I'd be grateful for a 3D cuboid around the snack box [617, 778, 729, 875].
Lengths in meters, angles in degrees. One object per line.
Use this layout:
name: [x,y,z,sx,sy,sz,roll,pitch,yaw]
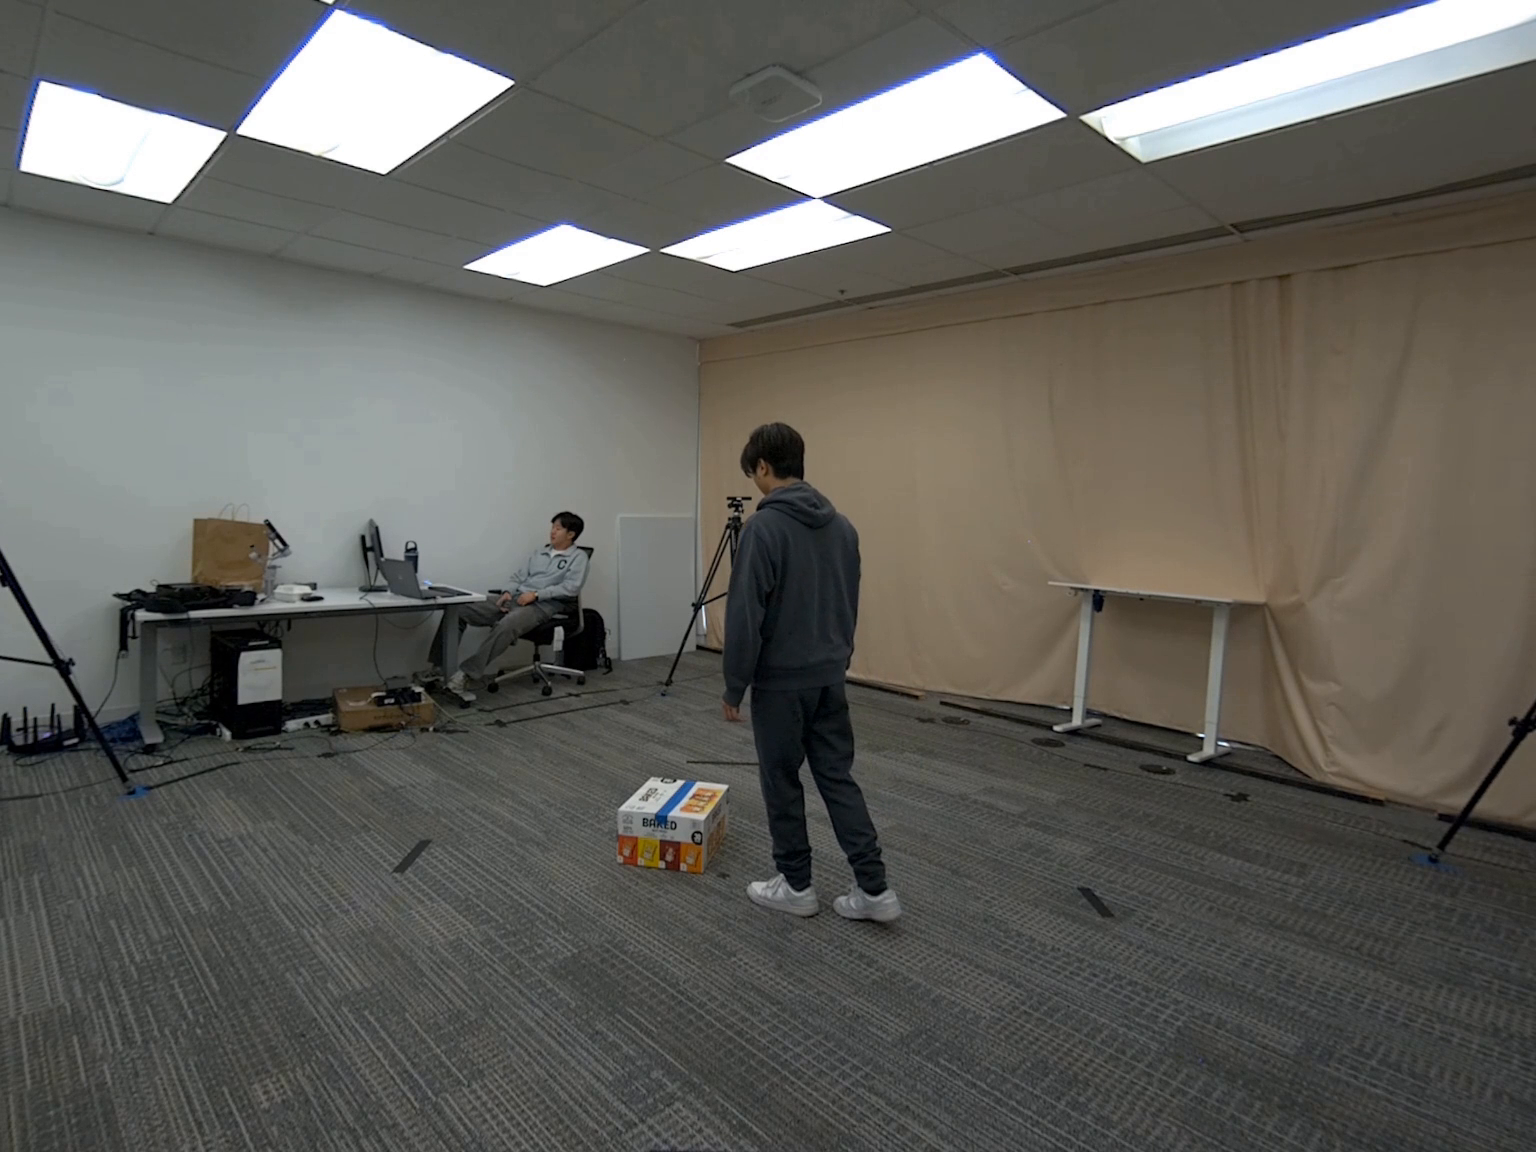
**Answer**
snack box: [-0.375,0.978,3.338,0.344,0.205,0.402,3,5,12]
